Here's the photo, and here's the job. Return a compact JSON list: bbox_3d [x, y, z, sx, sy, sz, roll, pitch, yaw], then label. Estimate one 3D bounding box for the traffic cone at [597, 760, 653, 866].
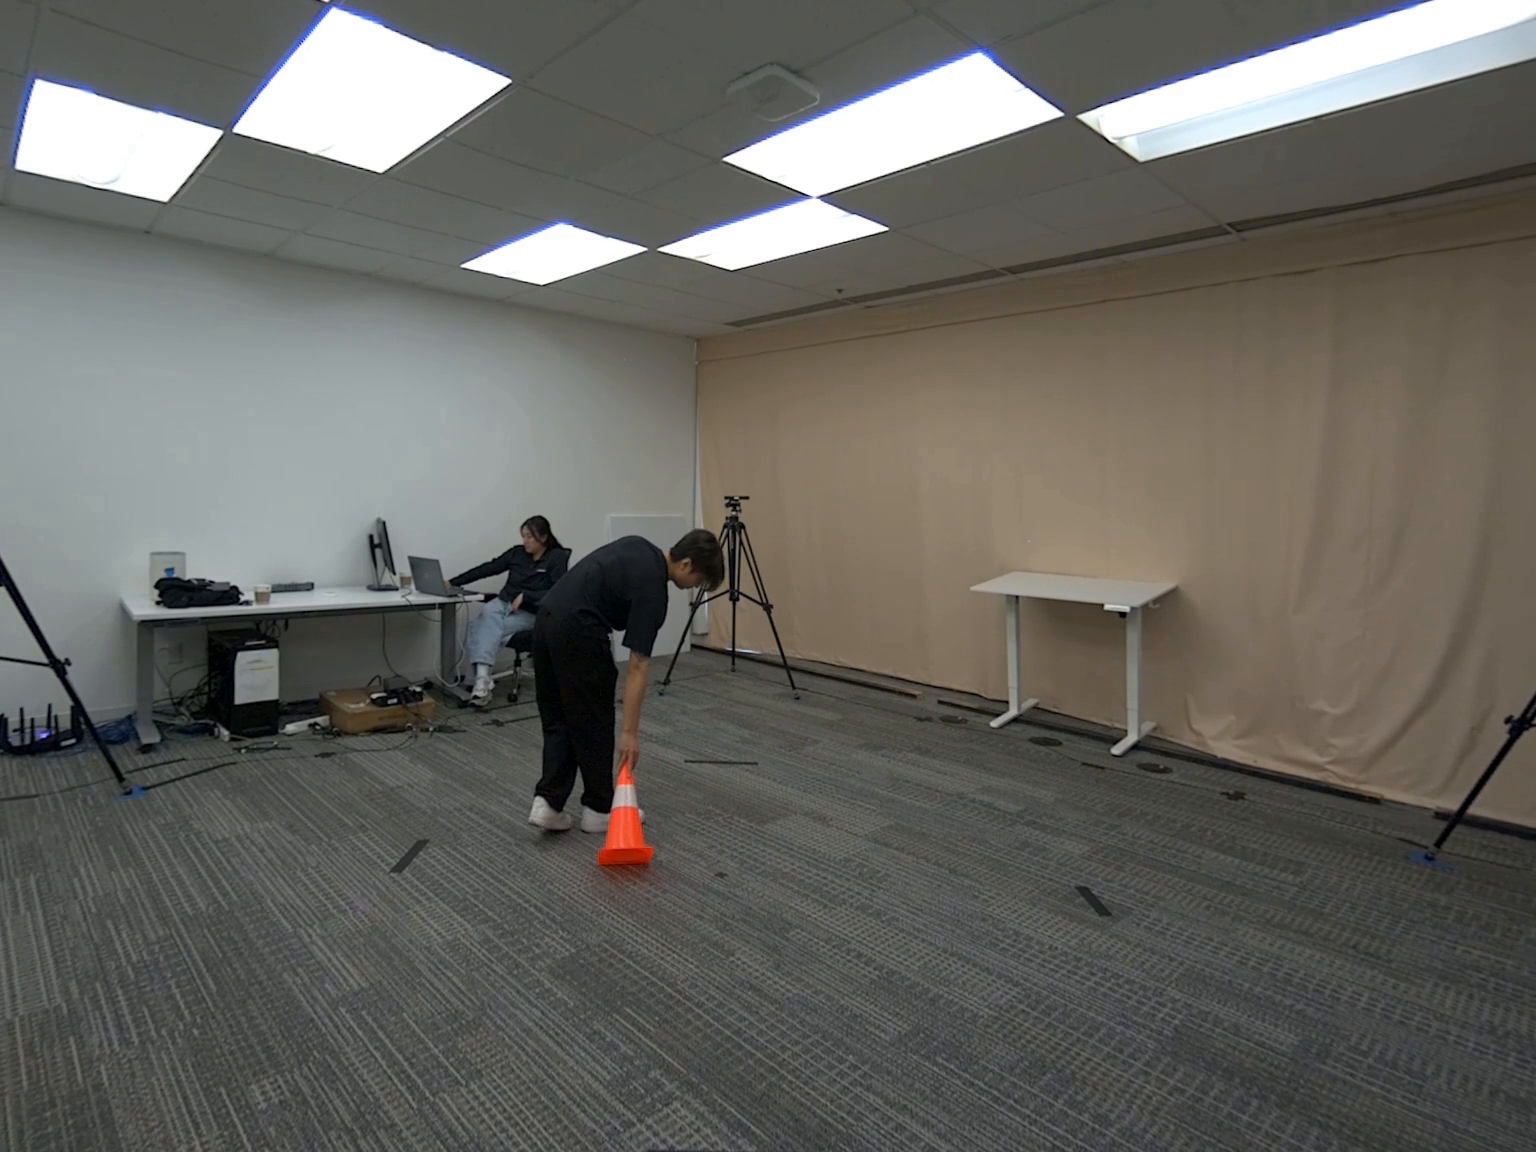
[{"bbox_3d":[-0.556,0.880,3.210,0.202,0.392,0.202,1,-34,-10],"label":"traffic cone"}]
